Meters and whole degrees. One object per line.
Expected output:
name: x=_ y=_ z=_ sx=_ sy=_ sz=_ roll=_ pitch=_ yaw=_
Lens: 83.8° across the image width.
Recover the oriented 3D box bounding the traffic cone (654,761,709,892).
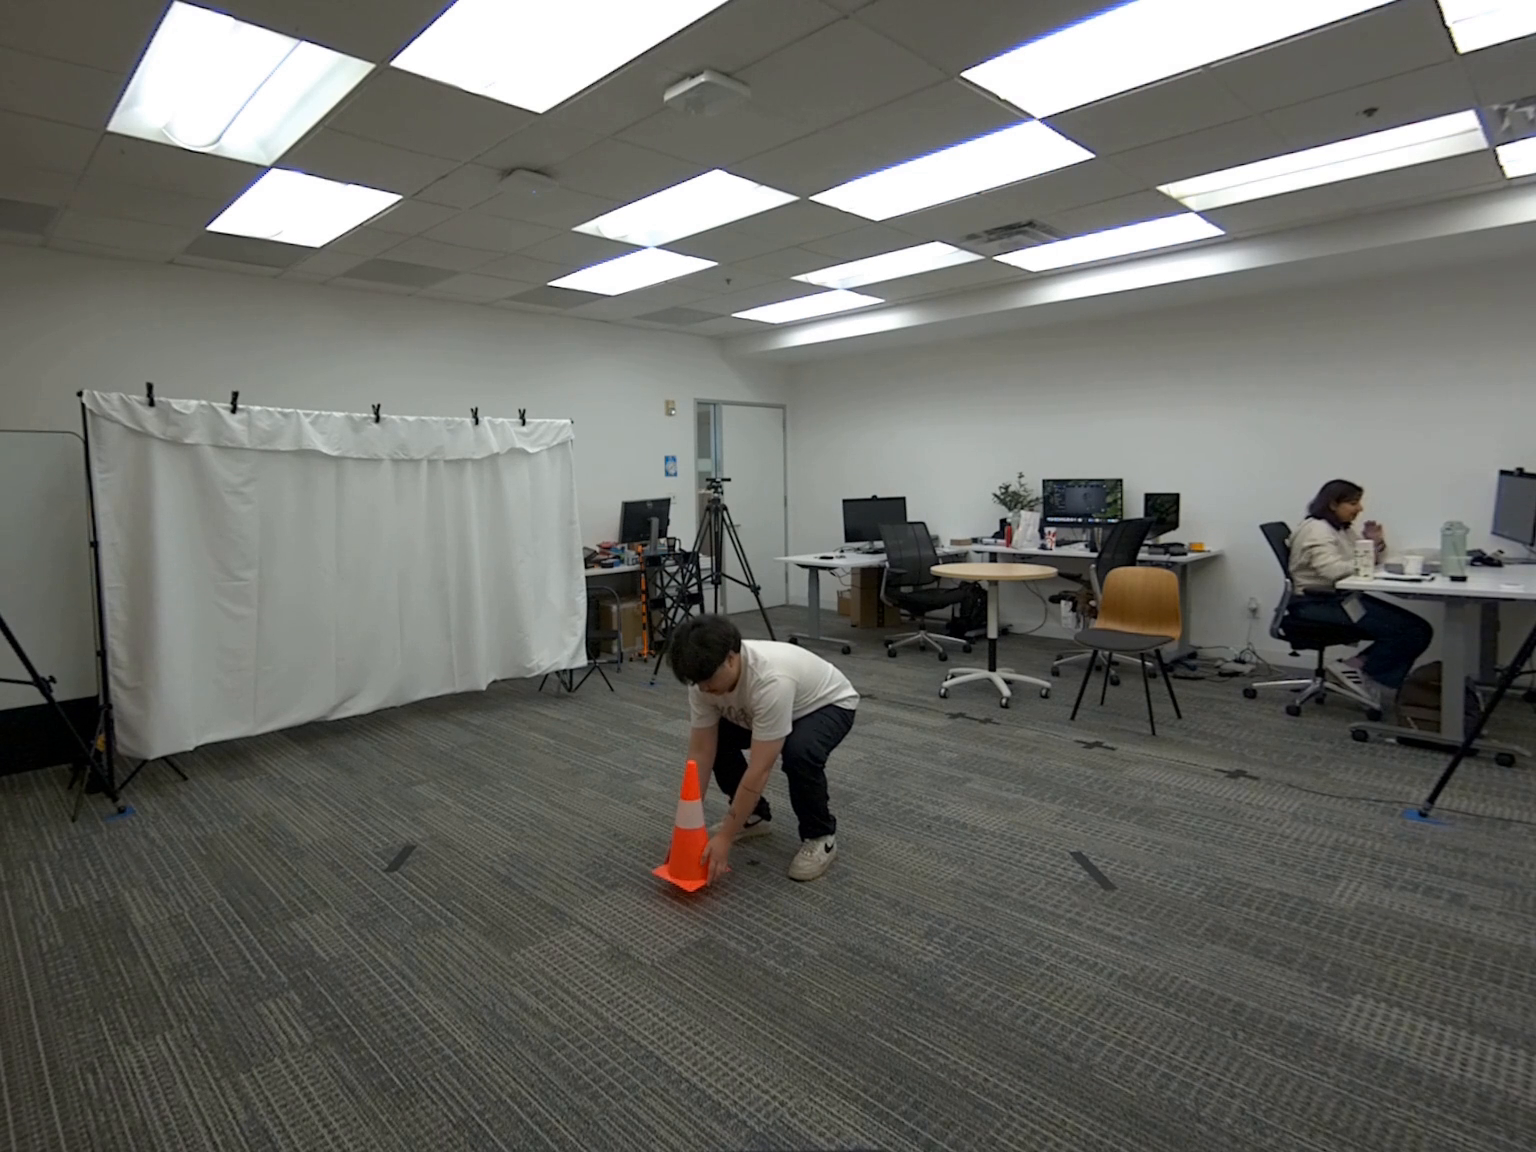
traffic cone: x=-0.258 y=0.815 z=2.893 sx=0.211 sy=0.382 sz=0.198 roll=5 pitch=8 yaw=44
